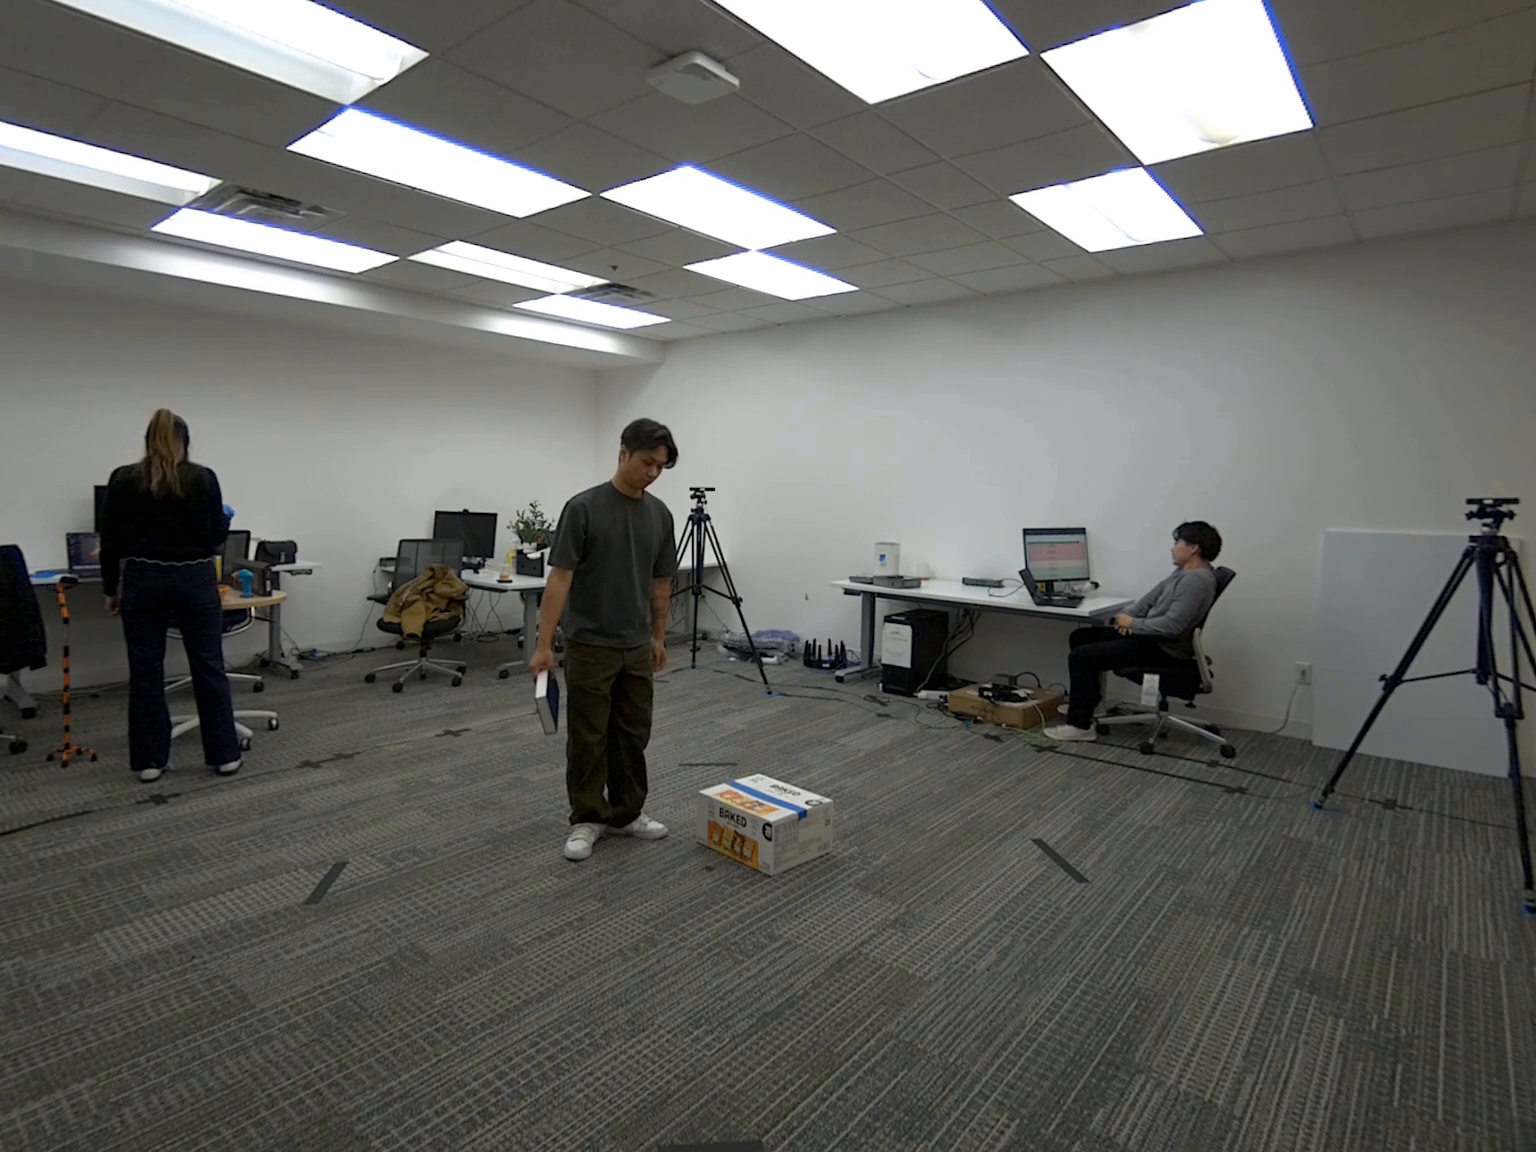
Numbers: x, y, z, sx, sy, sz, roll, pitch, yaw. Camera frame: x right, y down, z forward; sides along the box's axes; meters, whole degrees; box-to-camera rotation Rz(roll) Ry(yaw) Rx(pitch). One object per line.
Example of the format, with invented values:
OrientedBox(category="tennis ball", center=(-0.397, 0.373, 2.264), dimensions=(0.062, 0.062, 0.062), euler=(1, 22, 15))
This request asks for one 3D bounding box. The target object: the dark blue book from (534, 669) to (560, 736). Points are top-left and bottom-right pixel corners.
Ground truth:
OrientedBox(category="dark blue book", center=(-0.803, 0.425, 3.040), dimensions=(0.045, 0.159, 0.251), euler=(-9, 24, -2))
